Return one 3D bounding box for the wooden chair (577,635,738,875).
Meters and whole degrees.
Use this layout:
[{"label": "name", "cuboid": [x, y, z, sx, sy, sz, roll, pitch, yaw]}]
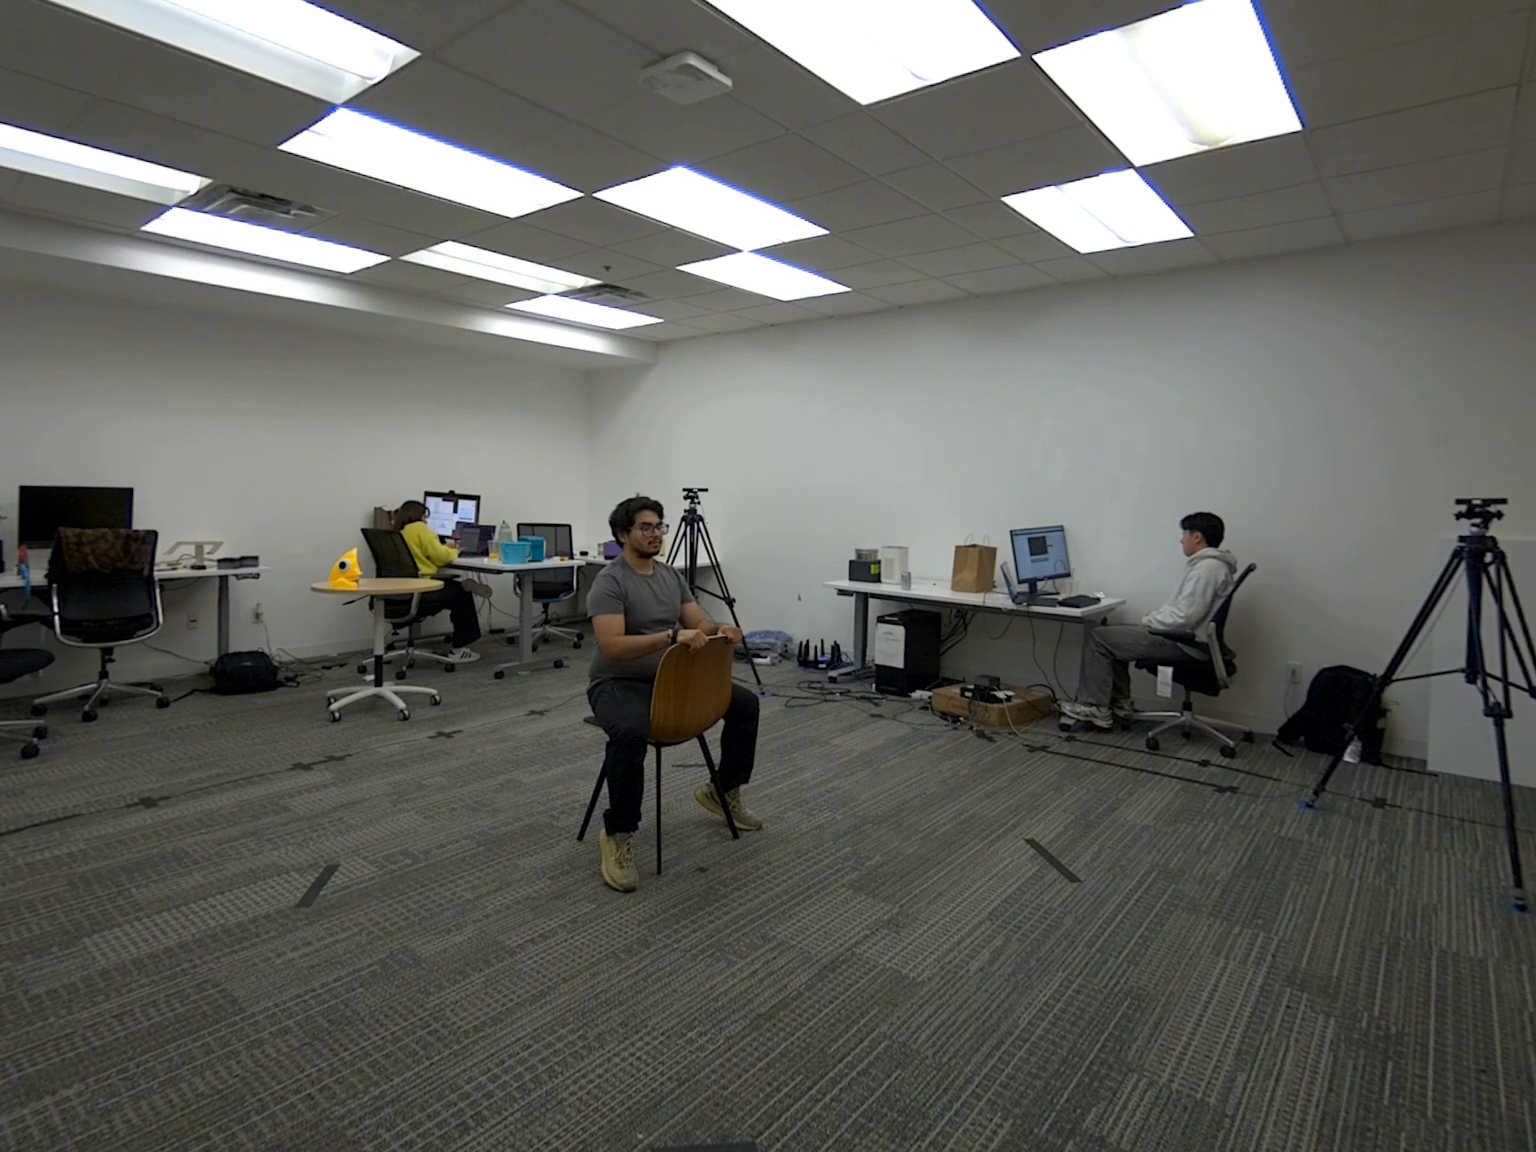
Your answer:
[{"label": "wooden chair", "cuboid": [-0.442, 0.617, 3.350, 0.542, 0.873, 0.464, 9, 7, 39]}]
